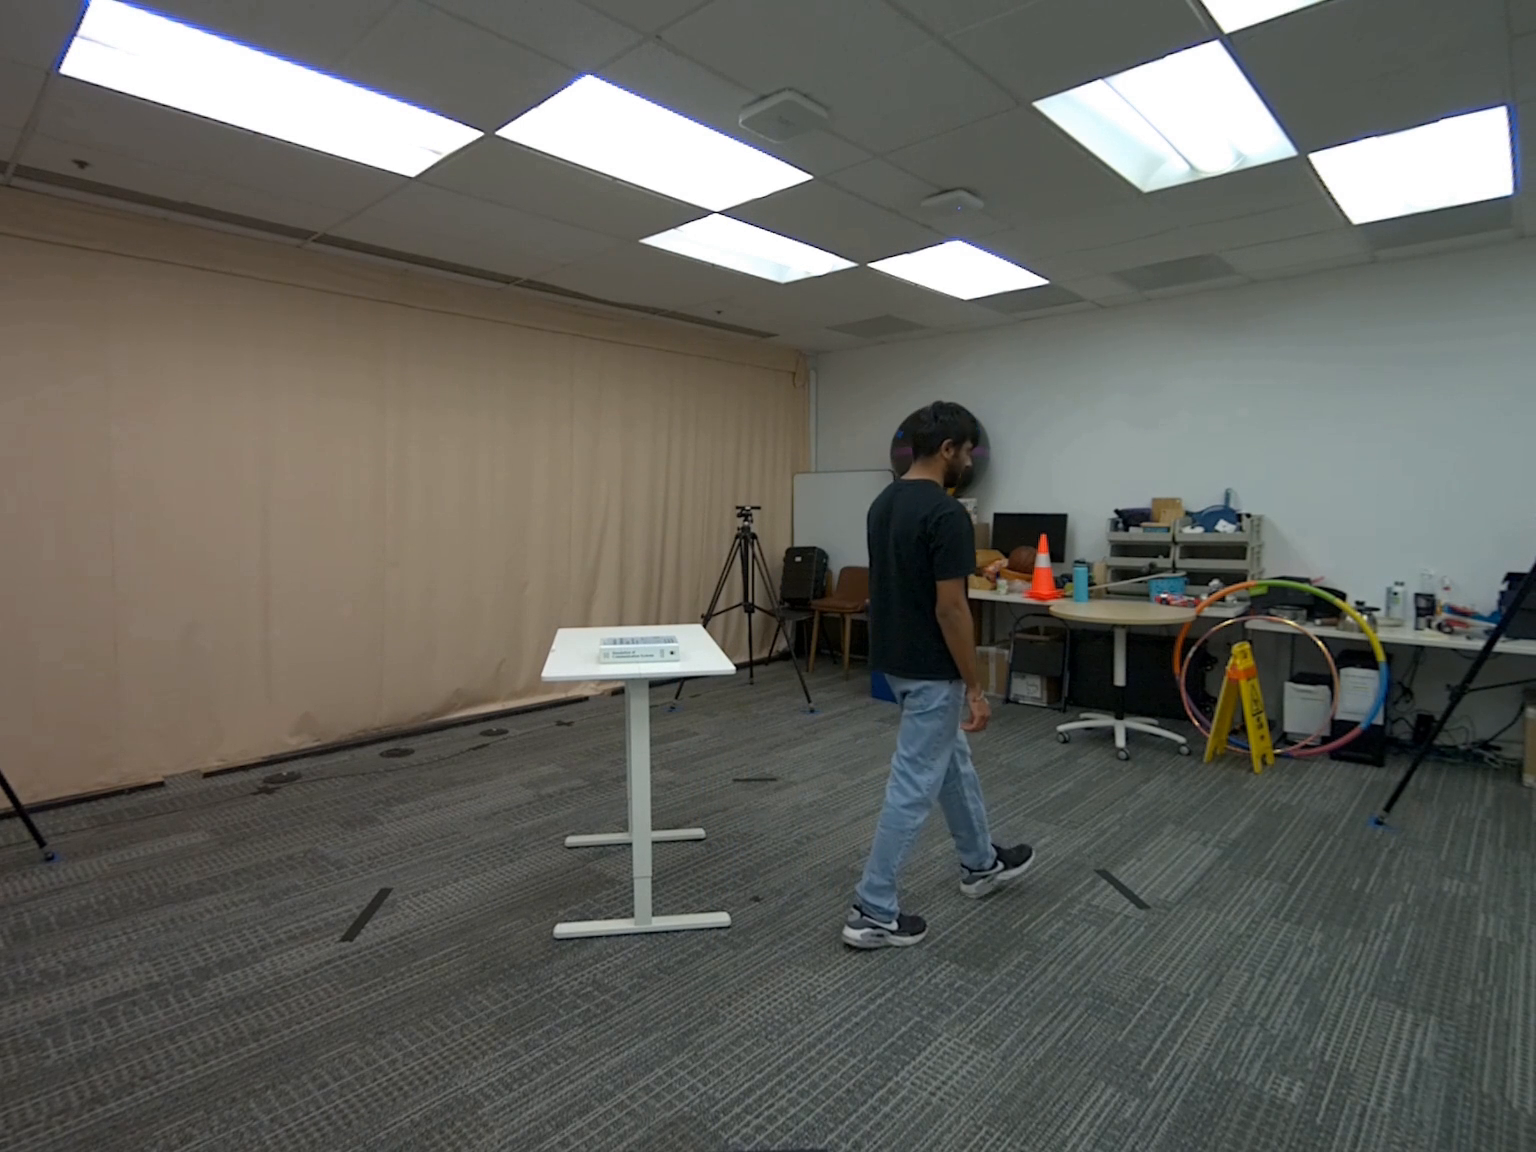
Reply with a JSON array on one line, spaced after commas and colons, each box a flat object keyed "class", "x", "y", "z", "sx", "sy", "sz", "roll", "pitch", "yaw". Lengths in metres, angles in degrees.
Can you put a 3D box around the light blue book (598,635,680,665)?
[{"class": "light blue book", "x": -0.435, "y": 0.256, "z": 2.849, "sx": 0.259, "sy": 0.059, "sz": 0.193, "roll": -1, "pitch": 4, "yaw": -6}]
